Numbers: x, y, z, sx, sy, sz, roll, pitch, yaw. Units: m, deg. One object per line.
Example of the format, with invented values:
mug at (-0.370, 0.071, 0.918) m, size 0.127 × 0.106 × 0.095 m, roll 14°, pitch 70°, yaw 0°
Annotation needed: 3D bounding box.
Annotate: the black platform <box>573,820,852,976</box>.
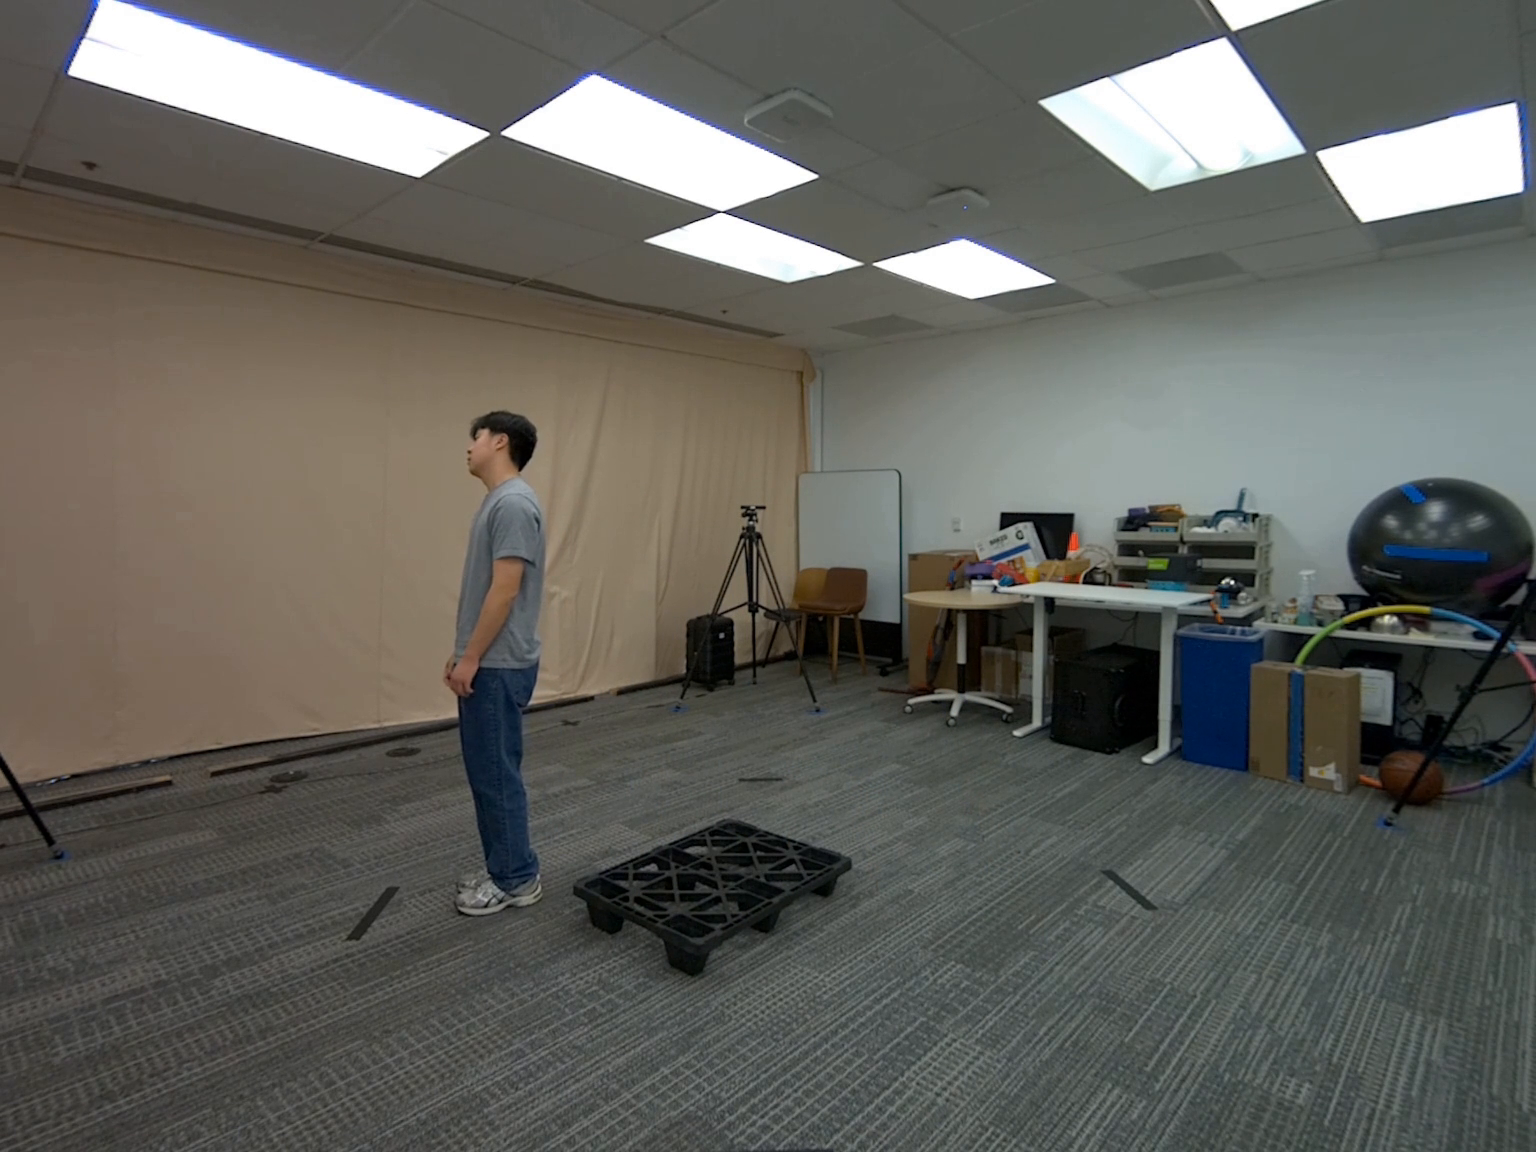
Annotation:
black platform at (-0.181, 1.083, 2.908) m, size 0.625 × 0.143 × 0.781 m, roll 3°, pitch 6°, yaw 40°
